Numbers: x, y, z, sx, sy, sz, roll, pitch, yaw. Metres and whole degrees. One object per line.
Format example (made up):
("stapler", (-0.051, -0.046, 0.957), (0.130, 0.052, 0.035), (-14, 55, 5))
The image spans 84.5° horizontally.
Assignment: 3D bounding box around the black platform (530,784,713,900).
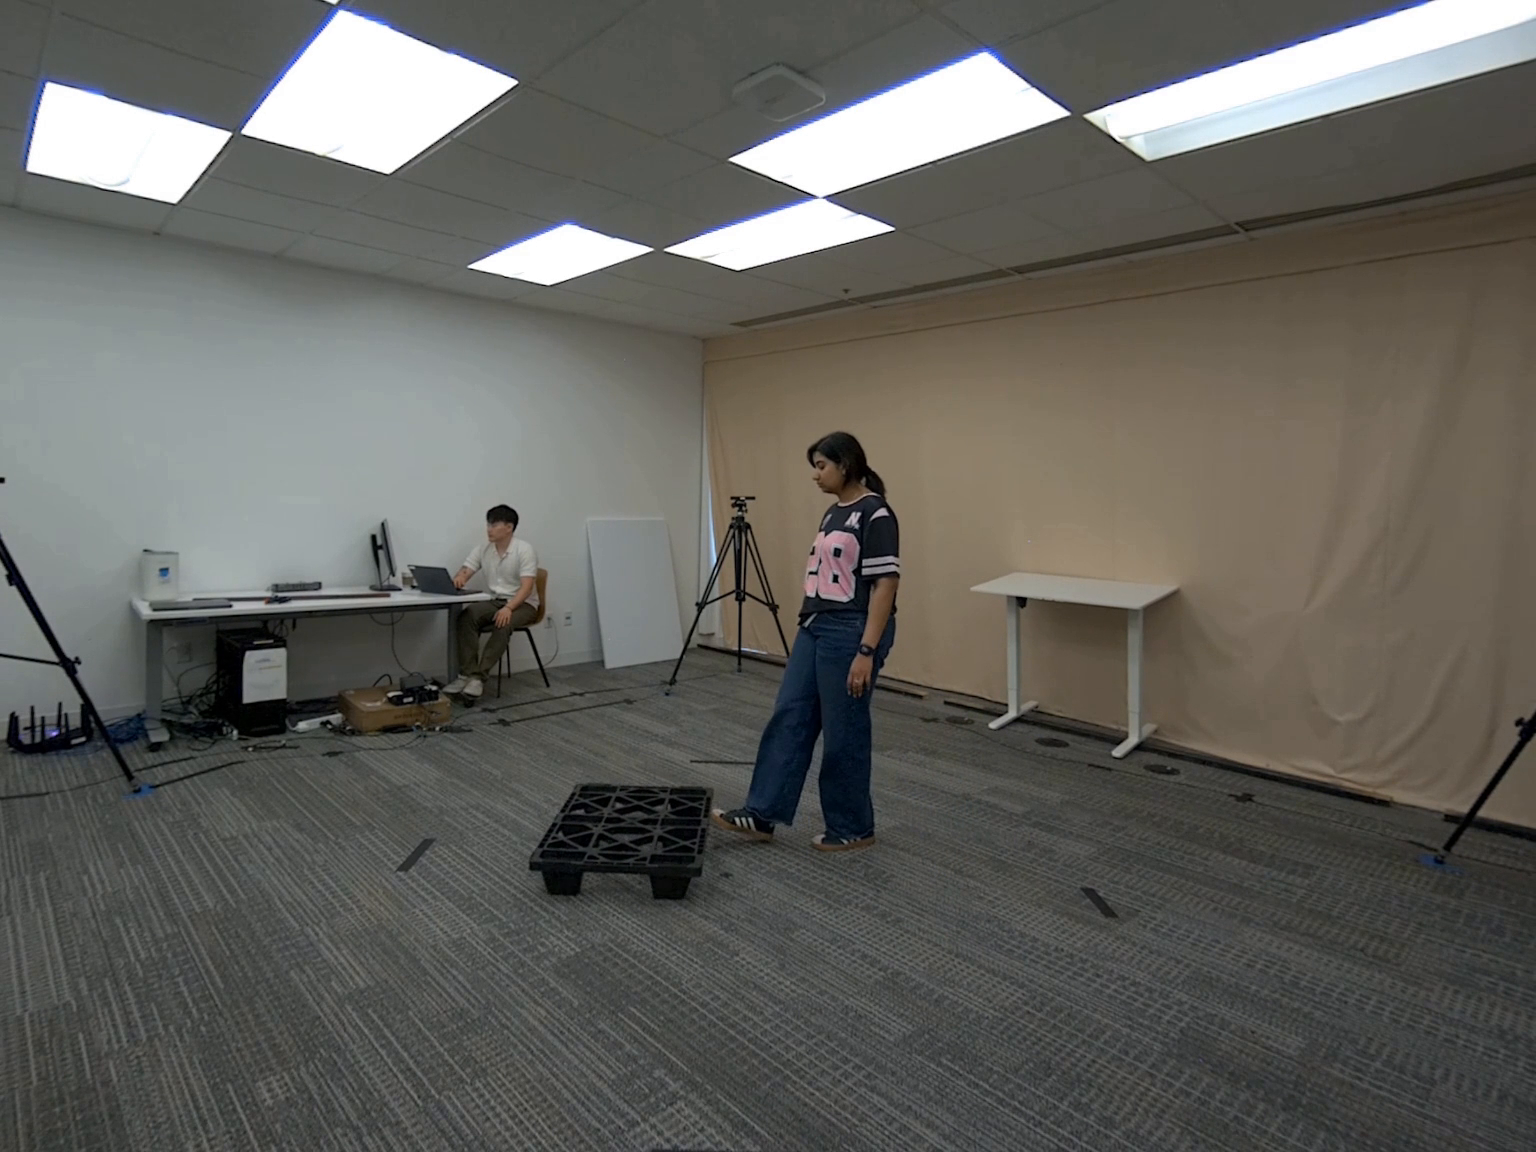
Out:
("black platform", (-0.536, 1.013, 3.270), (0.606, 0.143, 0.807), (2, 5, 0))
